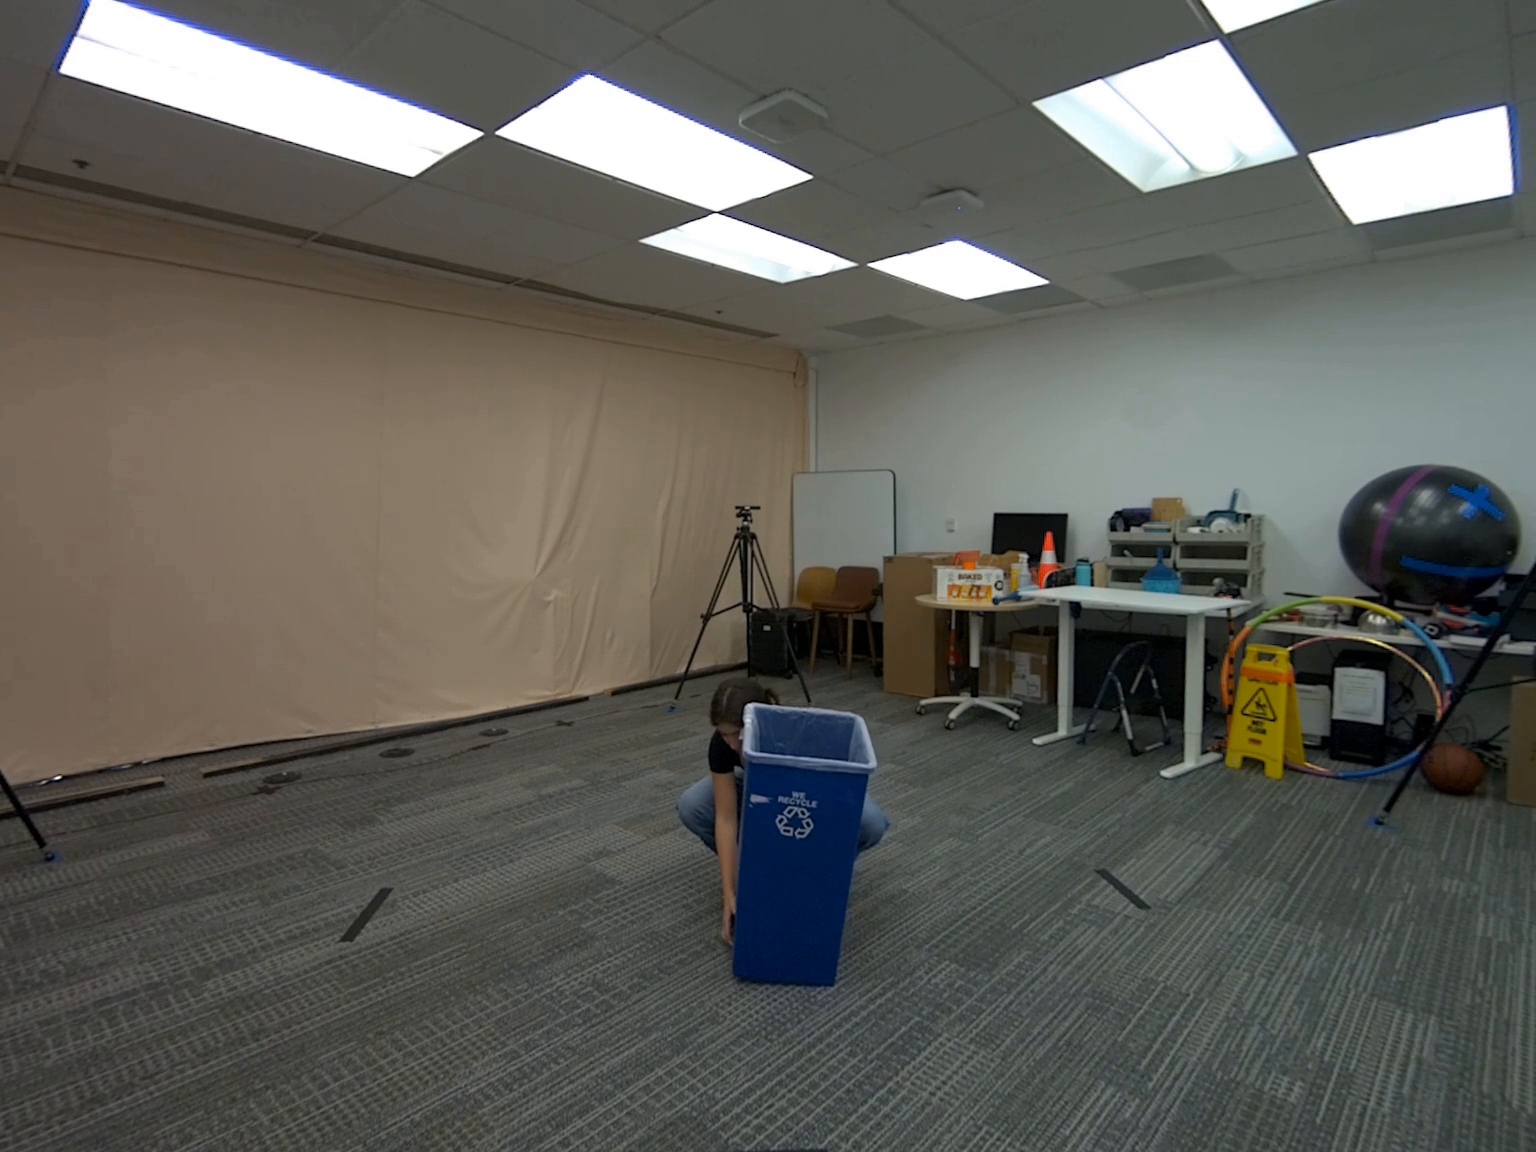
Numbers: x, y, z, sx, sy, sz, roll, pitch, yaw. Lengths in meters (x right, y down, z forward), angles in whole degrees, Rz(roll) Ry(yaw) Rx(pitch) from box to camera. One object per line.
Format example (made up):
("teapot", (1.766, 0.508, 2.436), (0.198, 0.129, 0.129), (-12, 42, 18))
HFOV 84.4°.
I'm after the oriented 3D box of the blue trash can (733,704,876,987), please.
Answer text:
("blue trash can", (0.087, 0.794, 2.521), (0.374, 0.709, 0.380), (4, 11, 0))
